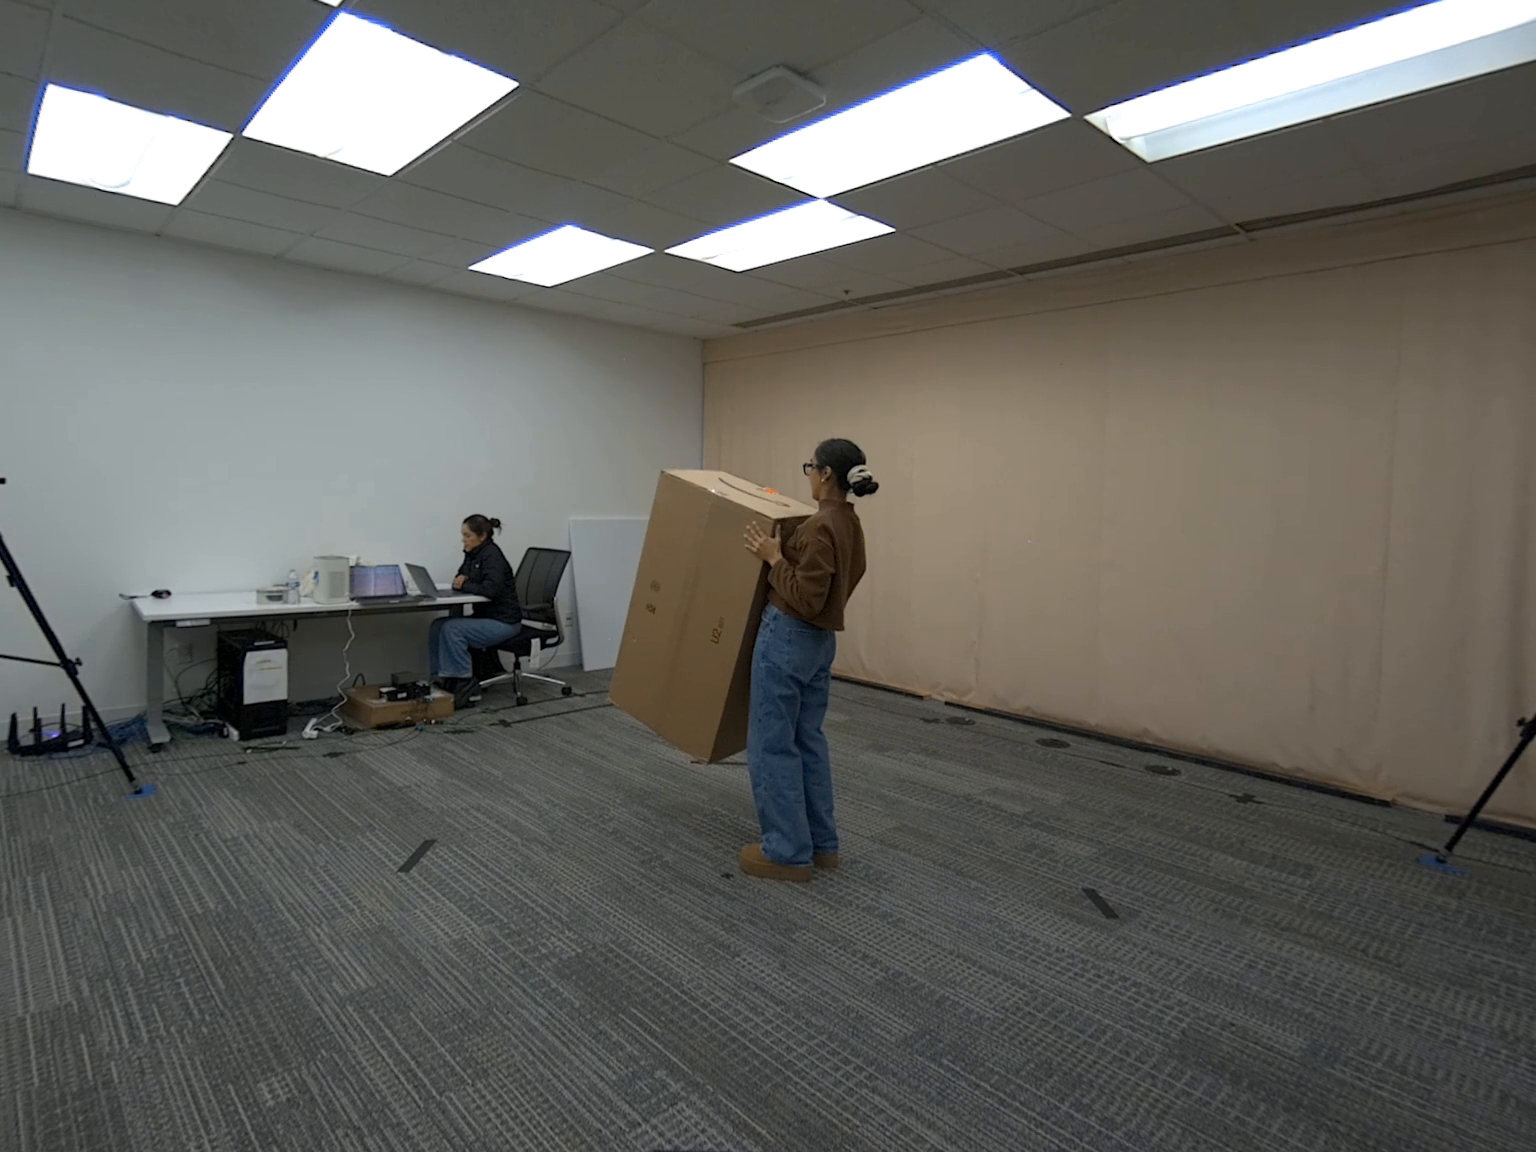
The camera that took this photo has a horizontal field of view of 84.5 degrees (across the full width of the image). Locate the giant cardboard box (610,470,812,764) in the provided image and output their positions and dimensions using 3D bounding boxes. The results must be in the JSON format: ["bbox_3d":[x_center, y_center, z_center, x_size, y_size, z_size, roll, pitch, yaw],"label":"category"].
[{"bbox_3d":[-0.221,0.143,3.465,0.594,1.018,0.417,25,17,33],"label":"giant cardboard box"}]
